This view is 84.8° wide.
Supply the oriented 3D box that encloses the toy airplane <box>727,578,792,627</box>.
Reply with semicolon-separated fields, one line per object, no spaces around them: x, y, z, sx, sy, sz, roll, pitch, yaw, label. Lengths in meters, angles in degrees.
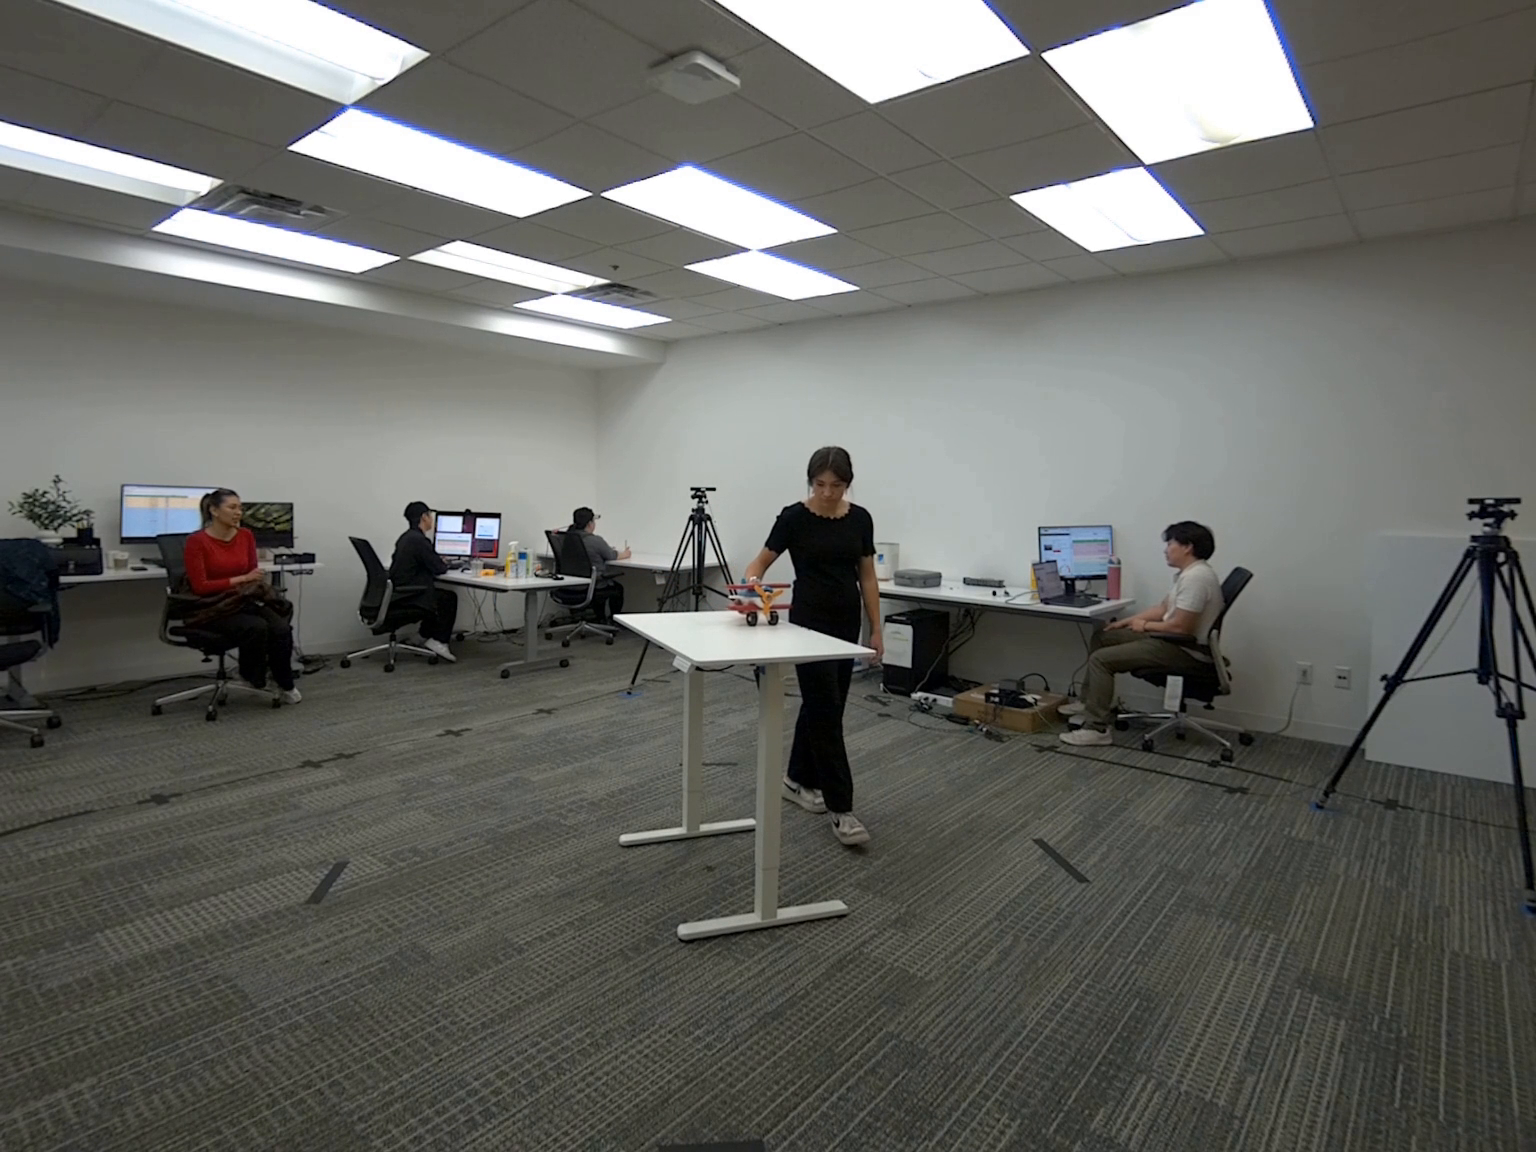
-0.074;0.087;3.237;0.269;0.155;0.244;16;16;41;toy airplane
